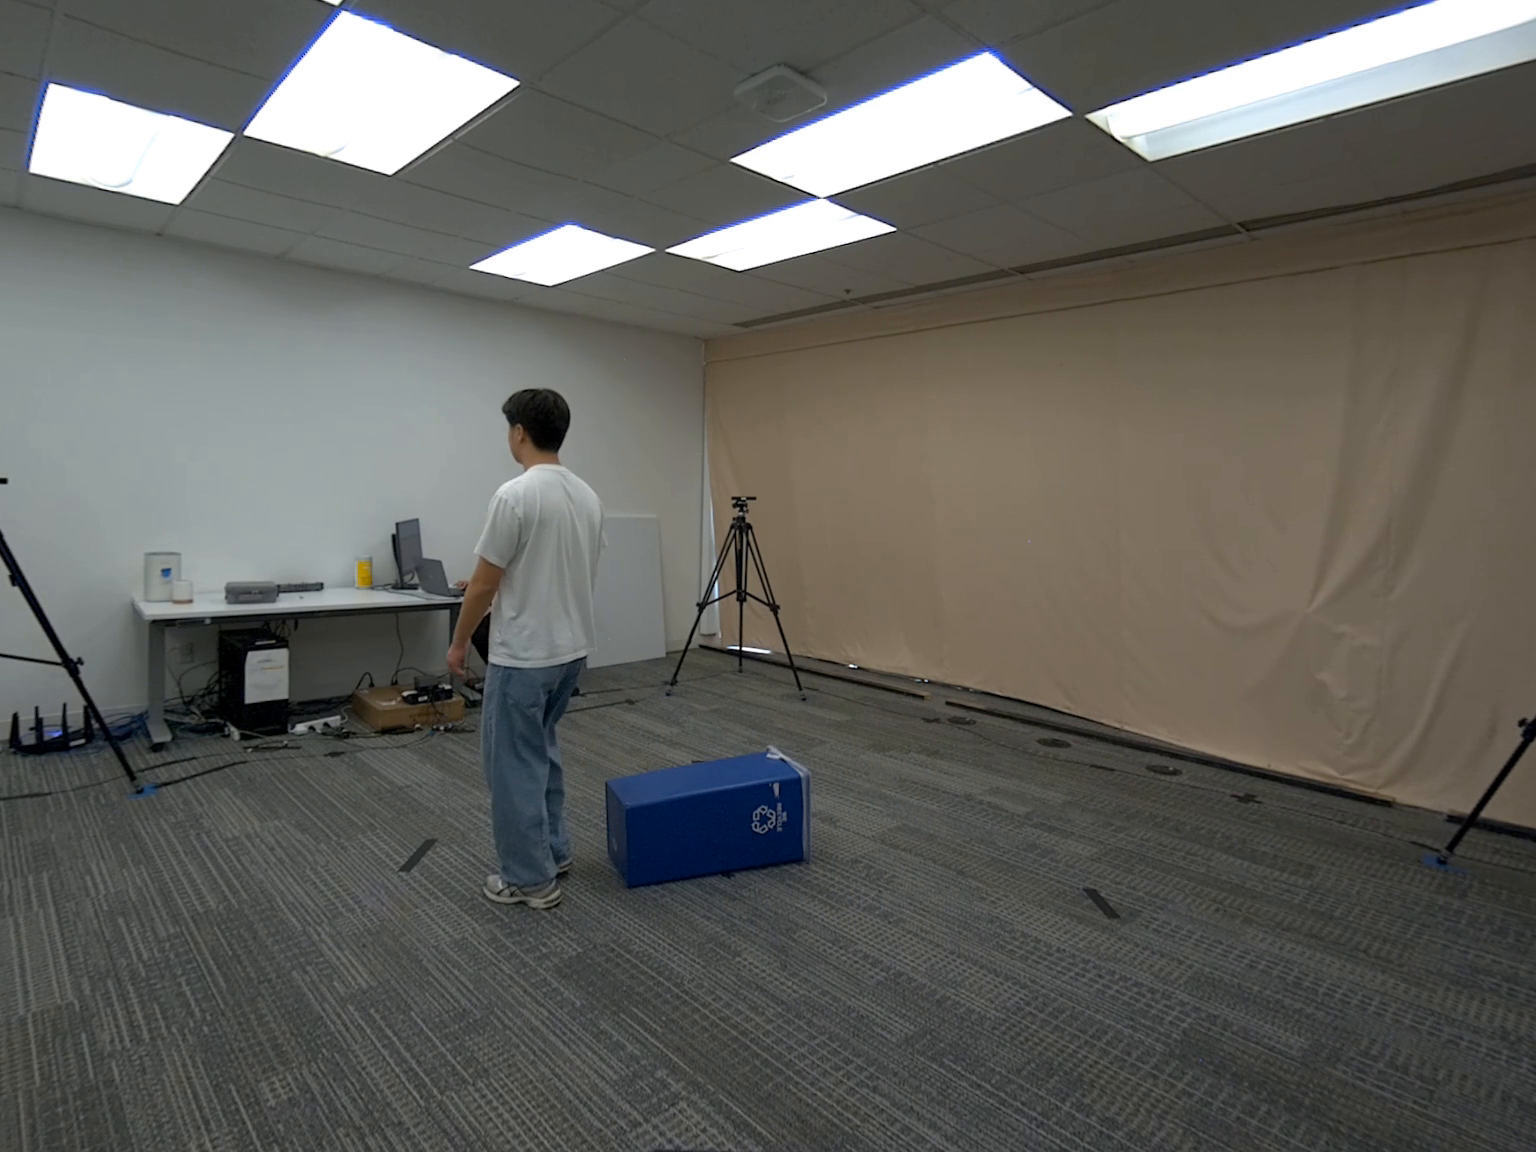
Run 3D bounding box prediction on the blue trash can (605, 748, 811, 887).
[{"bbox_3d":[-0.238,0.928,3.230,0.702,0.377,0.381,-4,6,-24],"label":"blue trash can"}]
